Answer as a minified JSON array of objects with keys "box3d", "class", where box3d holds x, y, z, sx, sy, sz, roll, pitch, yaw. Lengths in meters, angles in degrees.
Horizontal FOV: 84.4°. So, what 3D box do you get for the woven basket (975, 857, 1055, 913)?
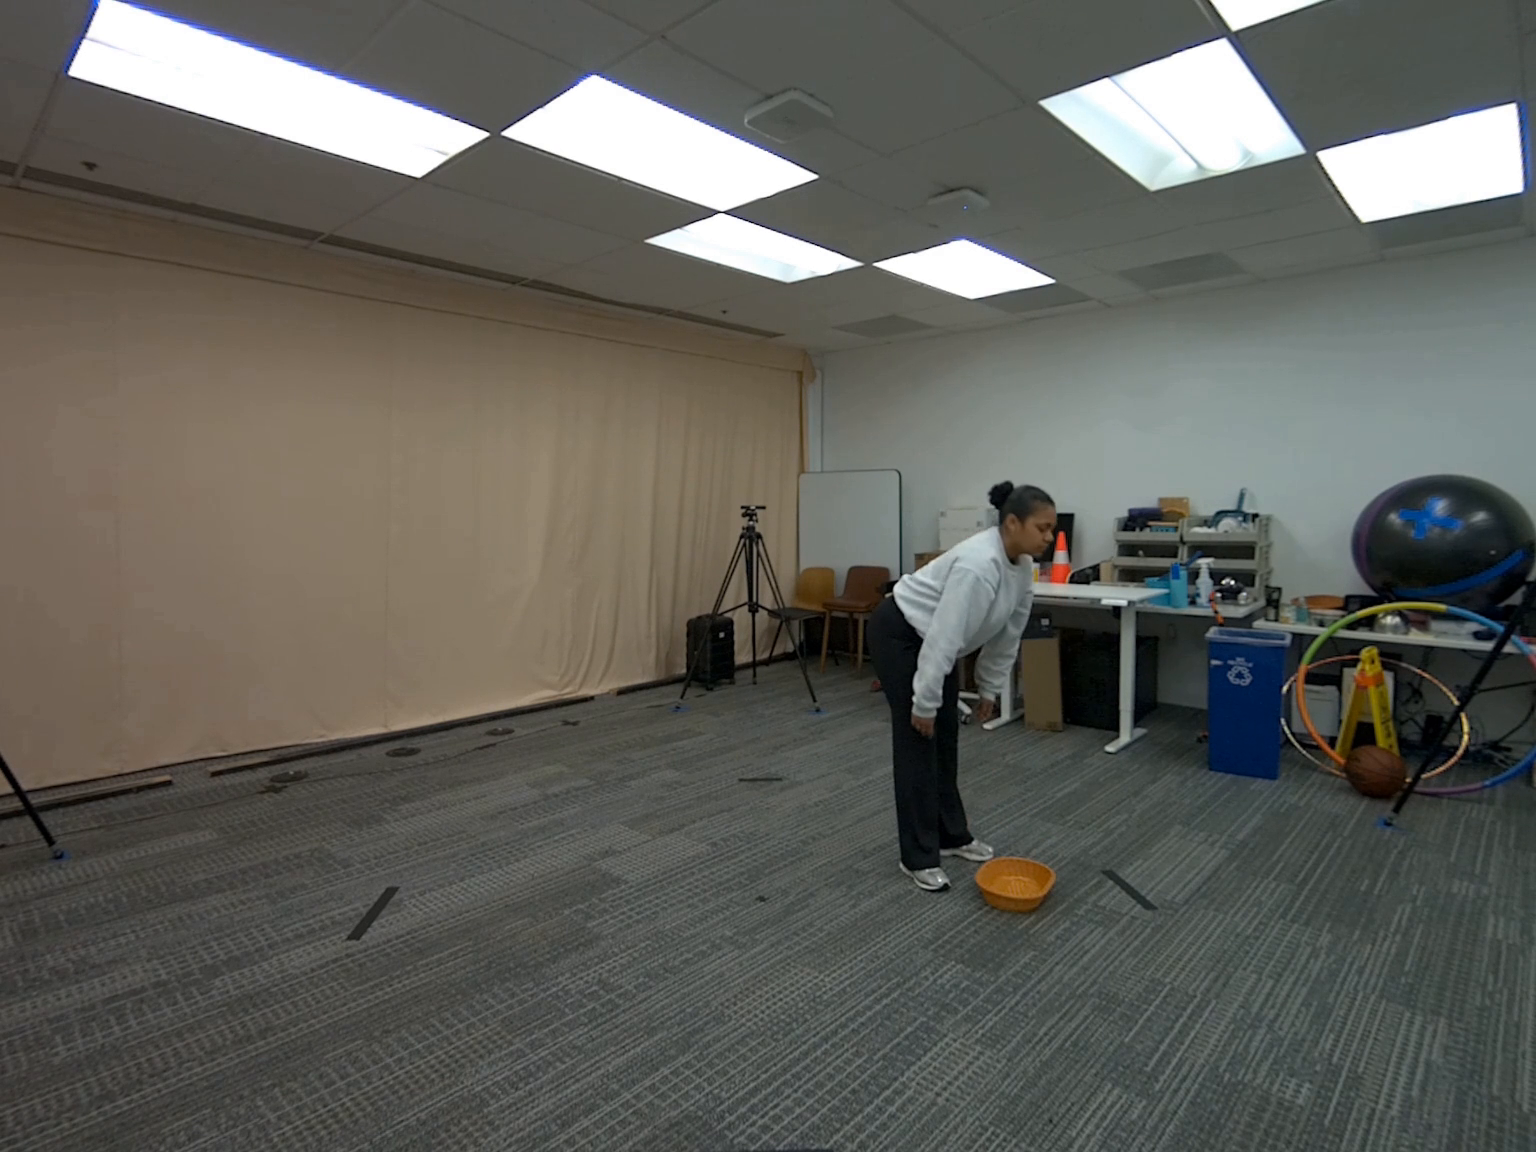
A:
[{"box3d":[0.882,1.099,3.004,0.260,0.073,0.340,3,6,36],"class":"woven basket"}]
